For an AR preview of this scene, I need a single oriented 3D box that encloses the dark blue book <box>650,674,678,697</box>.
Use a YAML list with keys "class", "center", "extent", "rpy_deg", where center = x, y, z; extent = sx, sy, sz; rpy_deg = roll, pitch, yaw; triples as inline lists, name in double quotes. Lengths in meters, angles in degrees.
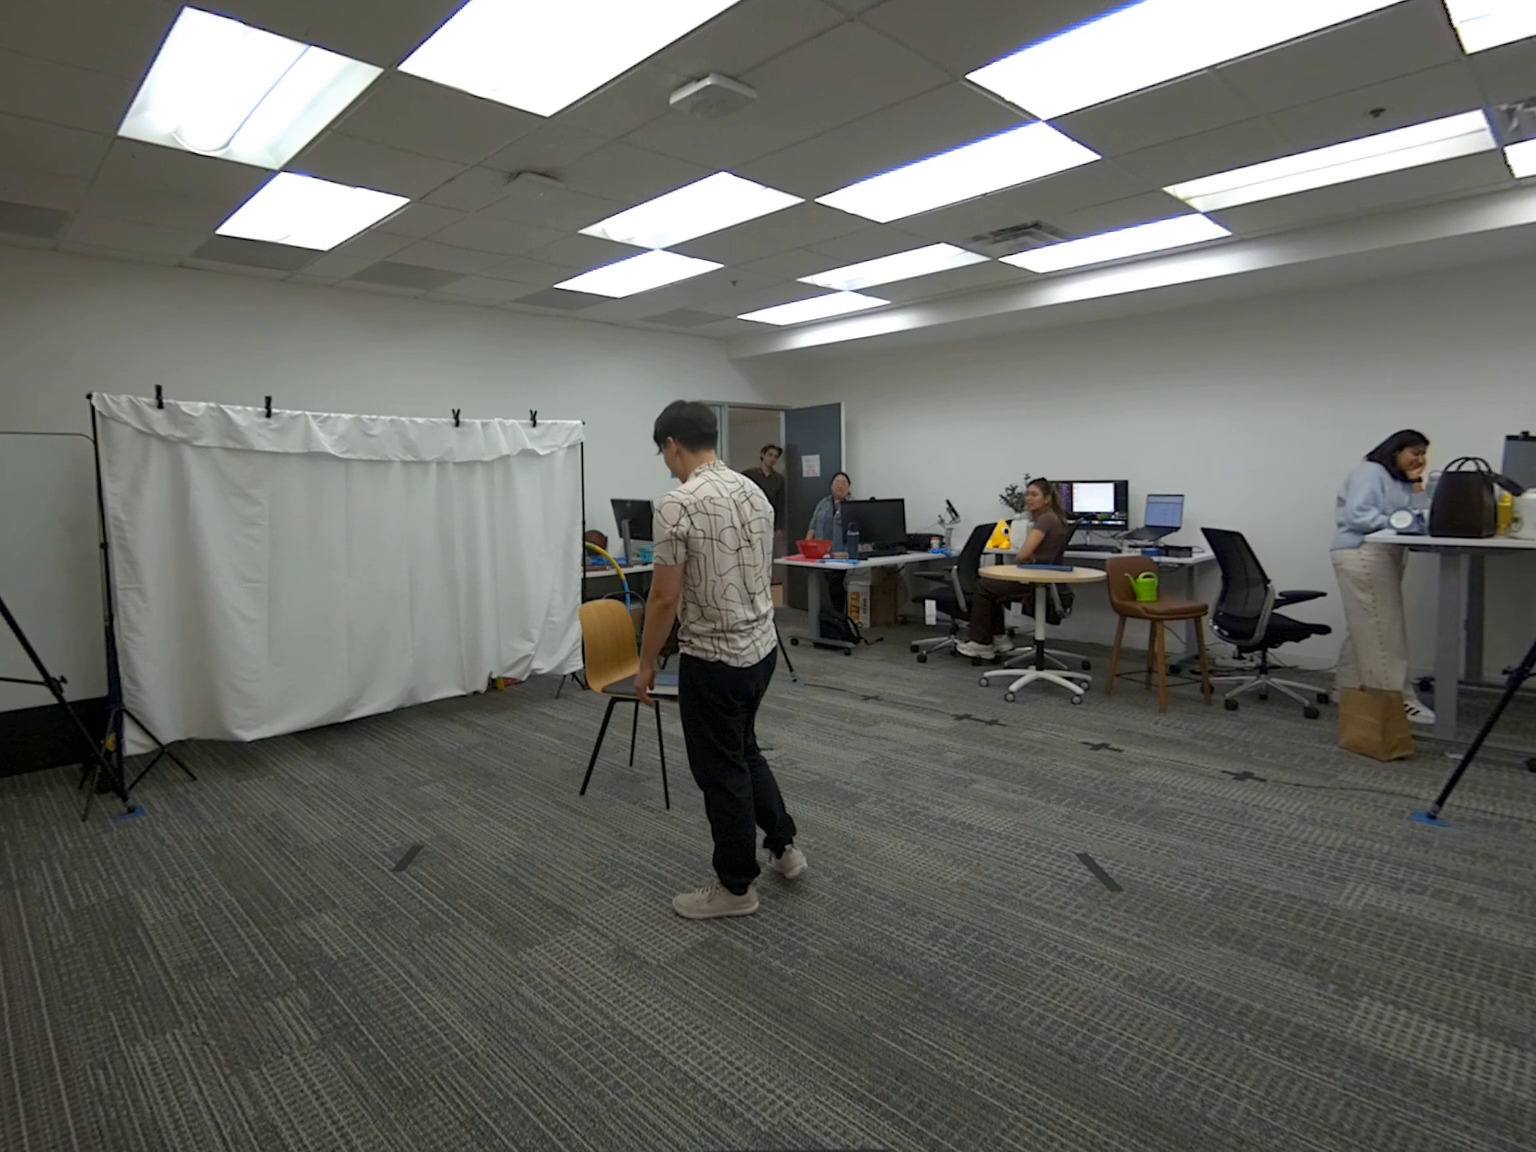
- class: "dark blue book"
  center: [-0.444, 0.475, 3.744]
  extent: [0.164, 0.045, 0.245]
  rpy_deg: [2, 3, 2]
